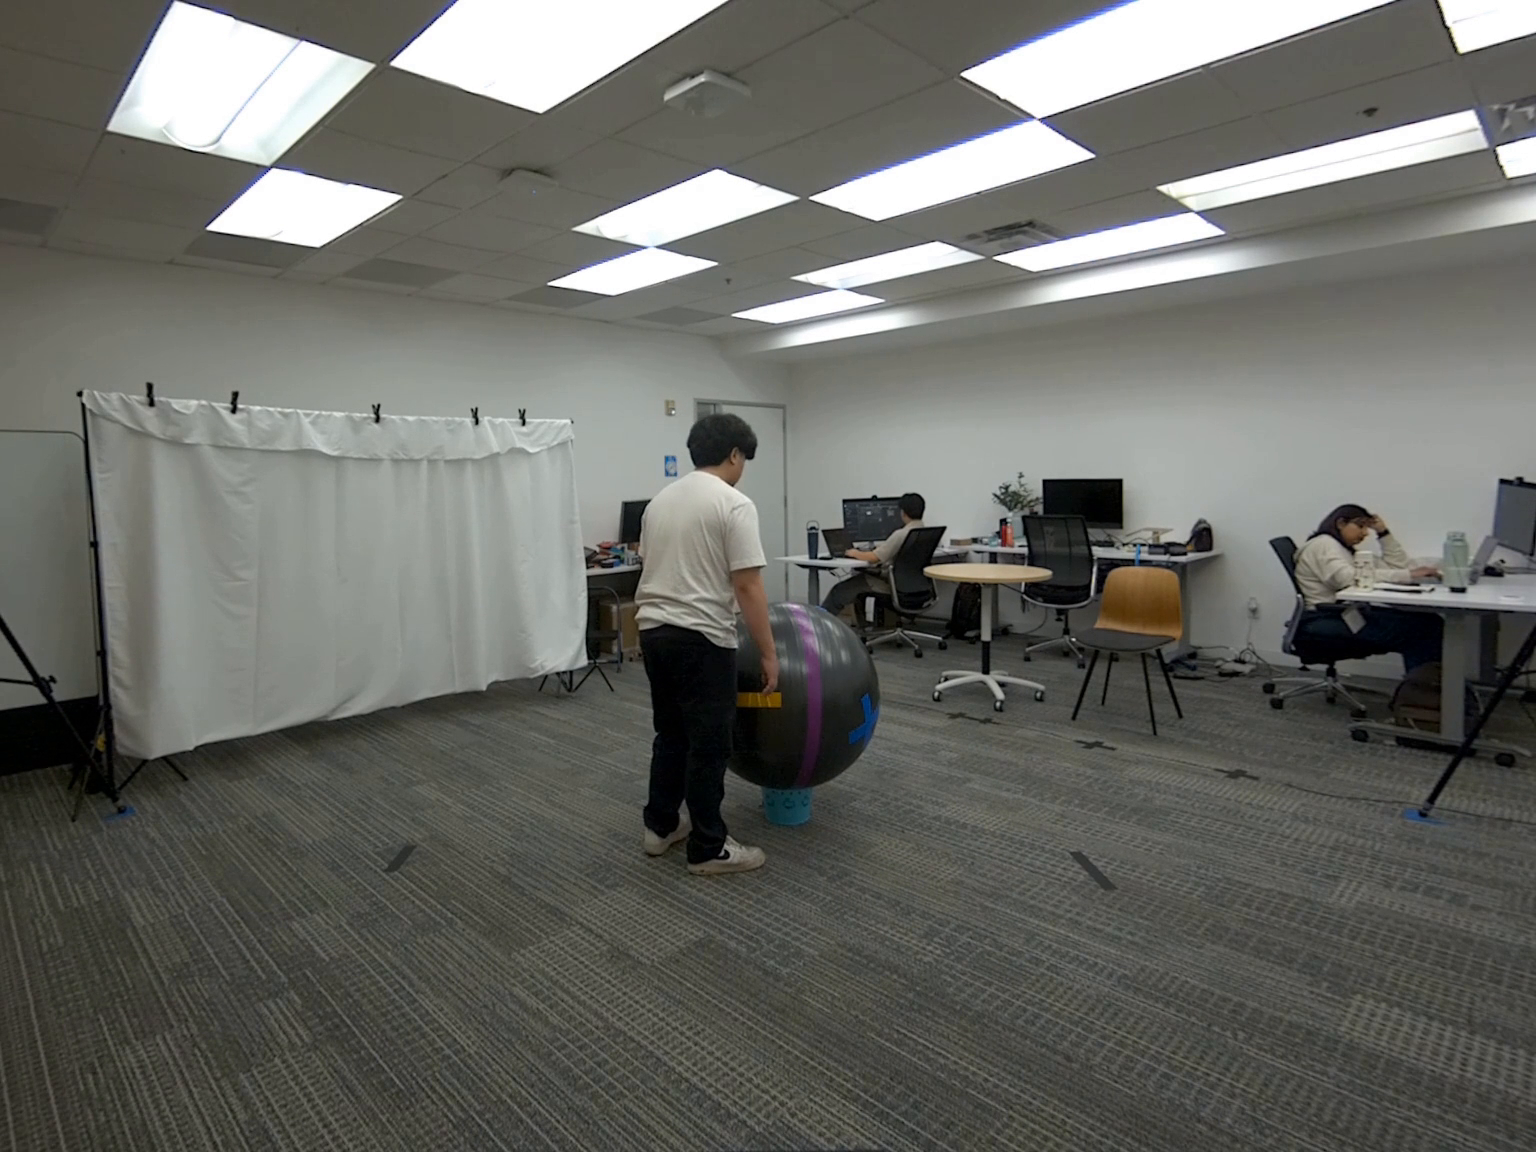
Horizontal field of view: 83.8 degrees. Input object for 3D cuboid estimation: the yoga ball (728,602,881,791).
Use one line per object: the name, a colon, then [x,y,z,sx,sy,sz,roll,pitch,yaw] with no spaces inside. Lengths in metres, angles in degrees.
yoga ball: [0.075,0.485,3.500,0.757,0.755,0.762,-1,5,-2]
